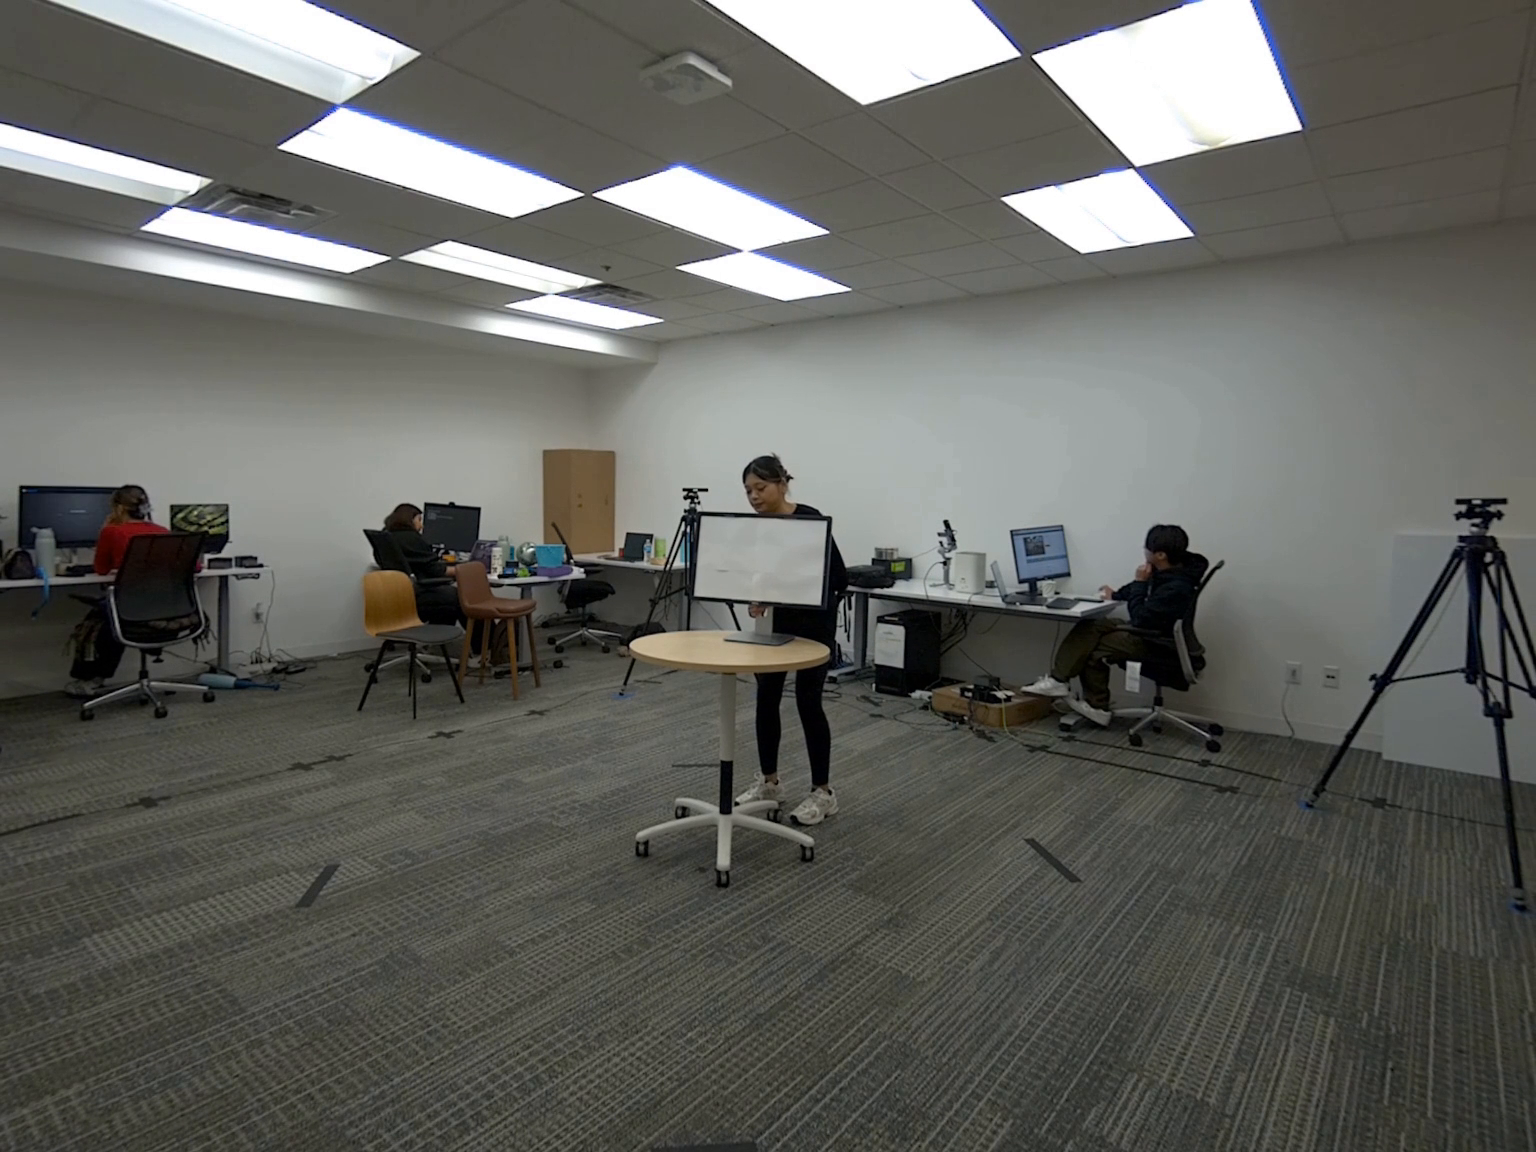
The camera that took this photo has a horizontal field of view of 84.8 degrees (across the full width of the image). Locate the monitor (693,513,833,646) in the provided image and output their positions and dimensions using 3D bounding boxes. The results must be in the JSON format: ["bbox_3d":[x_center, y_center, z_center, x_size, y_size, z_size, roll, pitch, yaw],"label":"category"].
[{"bbox_3d":[-0.034,0.009,3.411,0.550,0.520,0.184,3,6,19],"label":"monitor"}]
